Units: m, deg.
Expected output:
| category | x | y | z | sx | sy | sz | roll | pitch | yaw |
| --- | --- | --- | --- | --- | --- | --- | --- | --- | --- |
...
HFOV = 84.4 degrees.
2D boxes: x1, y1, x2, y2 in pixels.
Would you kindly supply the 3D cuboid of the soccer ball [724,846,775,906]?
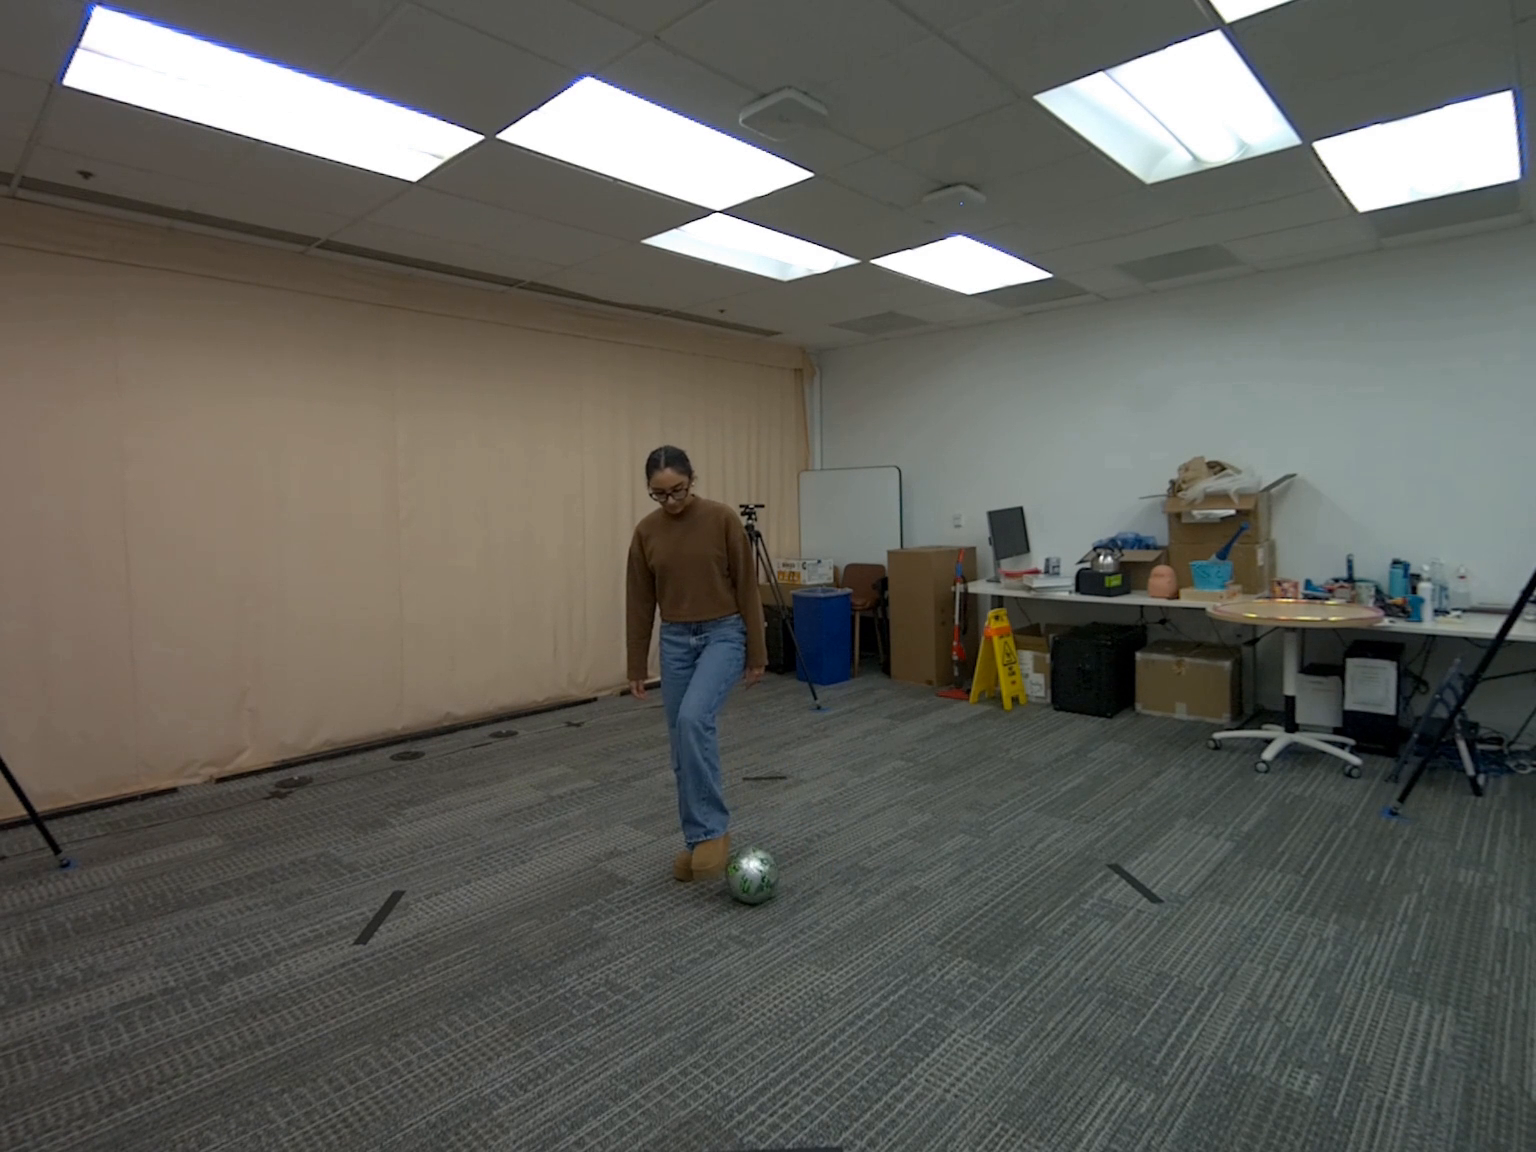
| category | x | y | z | sx | sy | sz | roll | pitch | yaw |
| --- | --- | --- | --- | --- | --- | --- | --- | --- | --- |
| soccer ball | -0.043 | 1.051 | 2.947 | 0.187 | 0.187 | 0.188 | -1 | 4 | -2 |
